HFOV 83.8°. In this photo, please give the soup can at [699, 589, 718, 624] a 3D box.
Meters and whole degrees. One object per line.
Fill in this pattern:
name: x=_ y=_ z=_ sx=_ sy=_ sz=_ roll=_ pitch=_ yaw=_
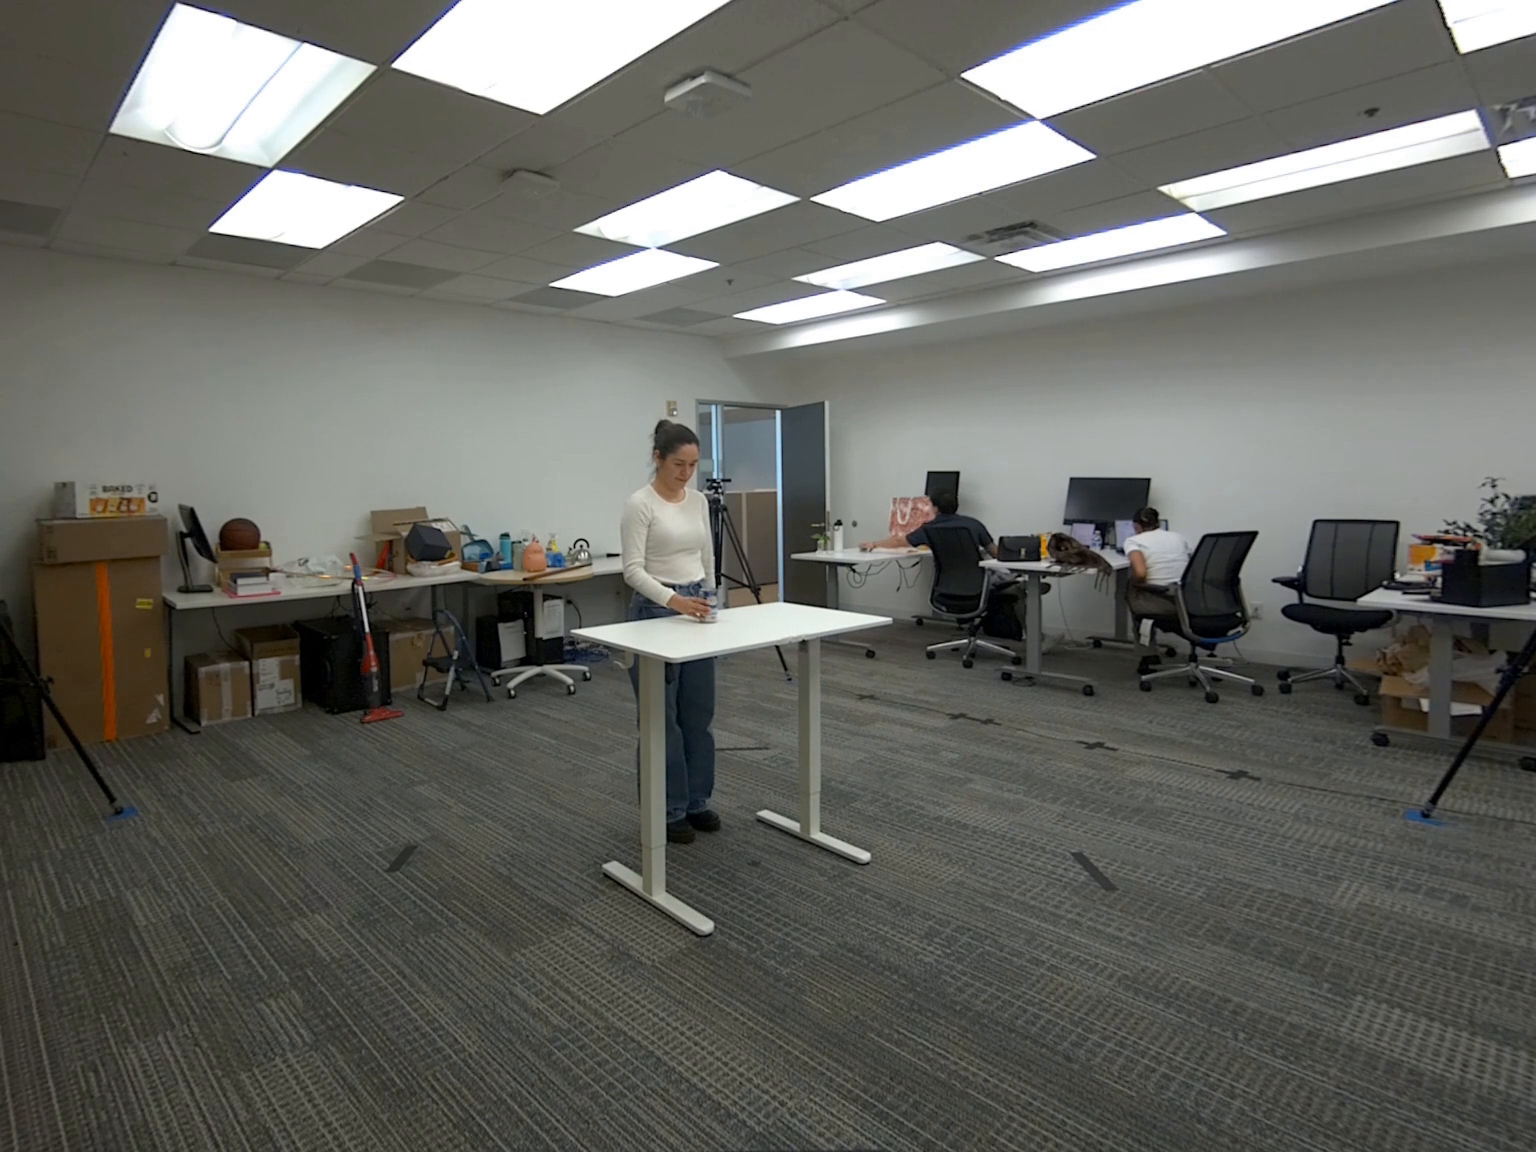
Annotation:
soup can: x=-0.214 y=0.102 z=3.079 sx=0.067 sy=0.121 sz=0.067 roll=1 pitch=6 yaw=-2
